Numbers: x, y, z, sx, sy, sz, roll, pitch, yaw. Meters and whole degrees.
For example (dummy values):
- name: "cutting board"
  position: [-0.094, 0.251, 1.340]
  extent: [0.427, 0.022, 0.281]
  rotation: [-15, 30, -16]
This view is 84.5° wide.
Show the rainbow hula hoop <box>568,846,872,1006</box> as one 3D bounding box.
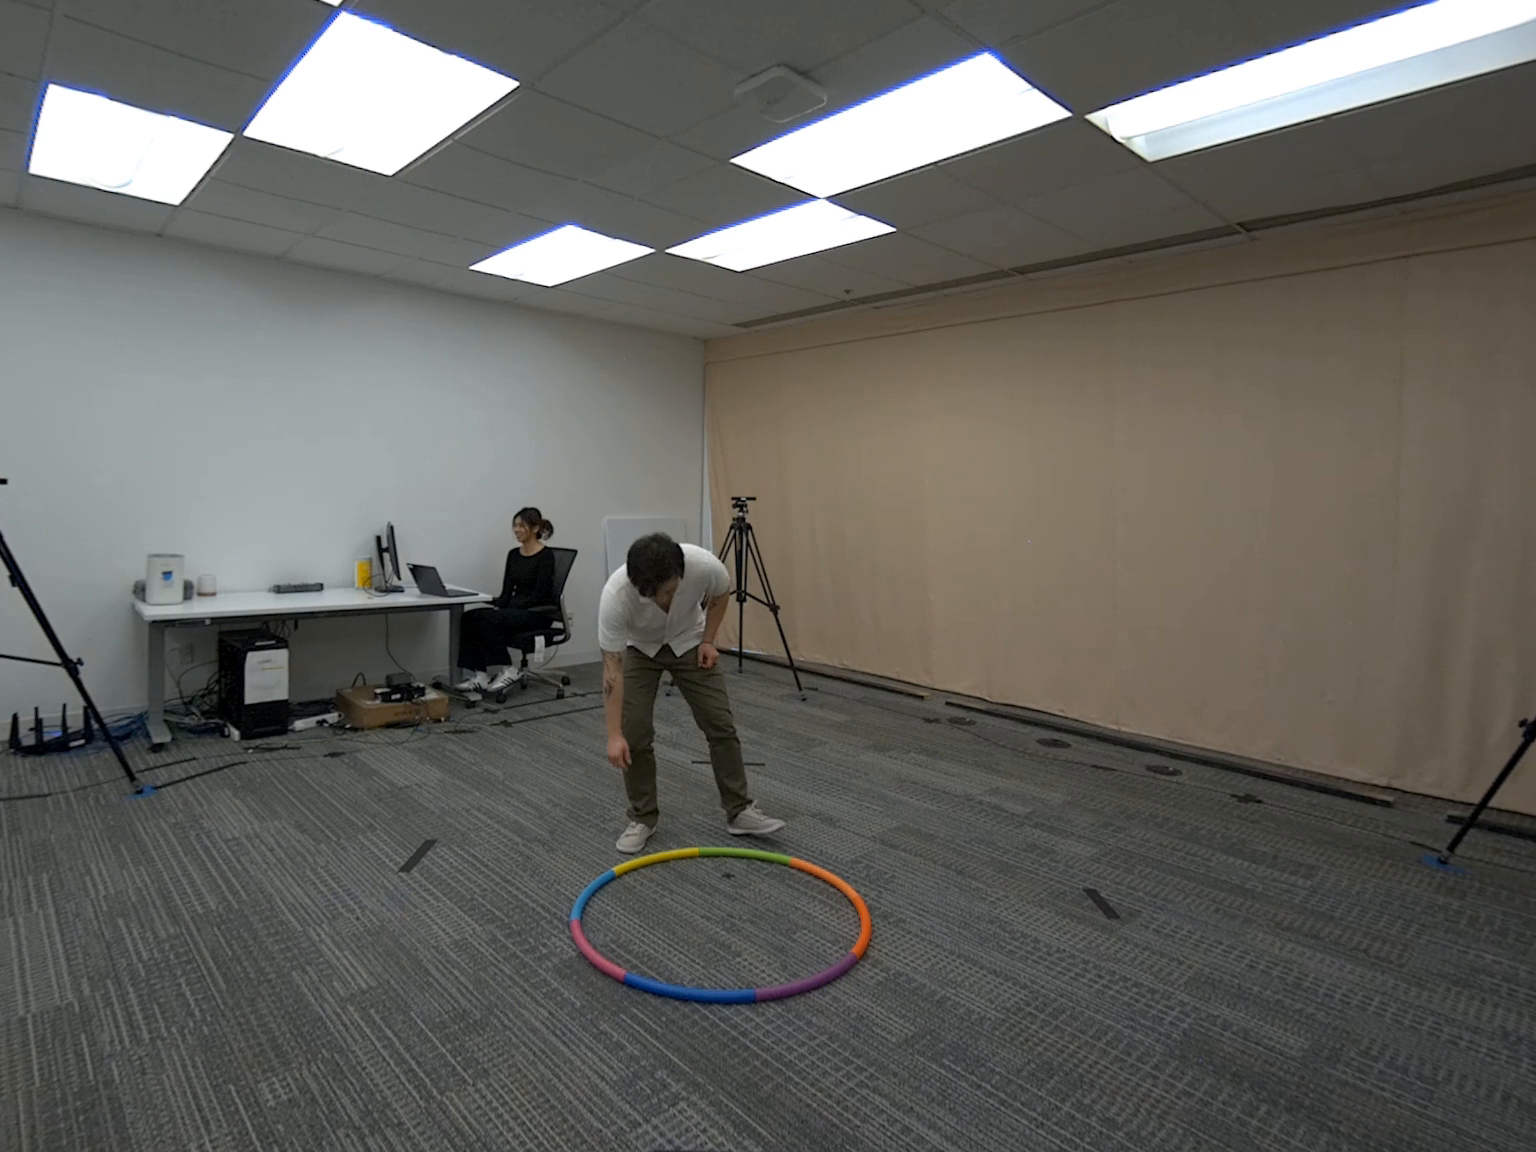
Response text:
- name: "rainbow hula hoop"
  position: [-0.161, 1.108, 2.800]
  extent: [0.978, 0.035, 0.982]
  rotation: [1, 5, -1]
